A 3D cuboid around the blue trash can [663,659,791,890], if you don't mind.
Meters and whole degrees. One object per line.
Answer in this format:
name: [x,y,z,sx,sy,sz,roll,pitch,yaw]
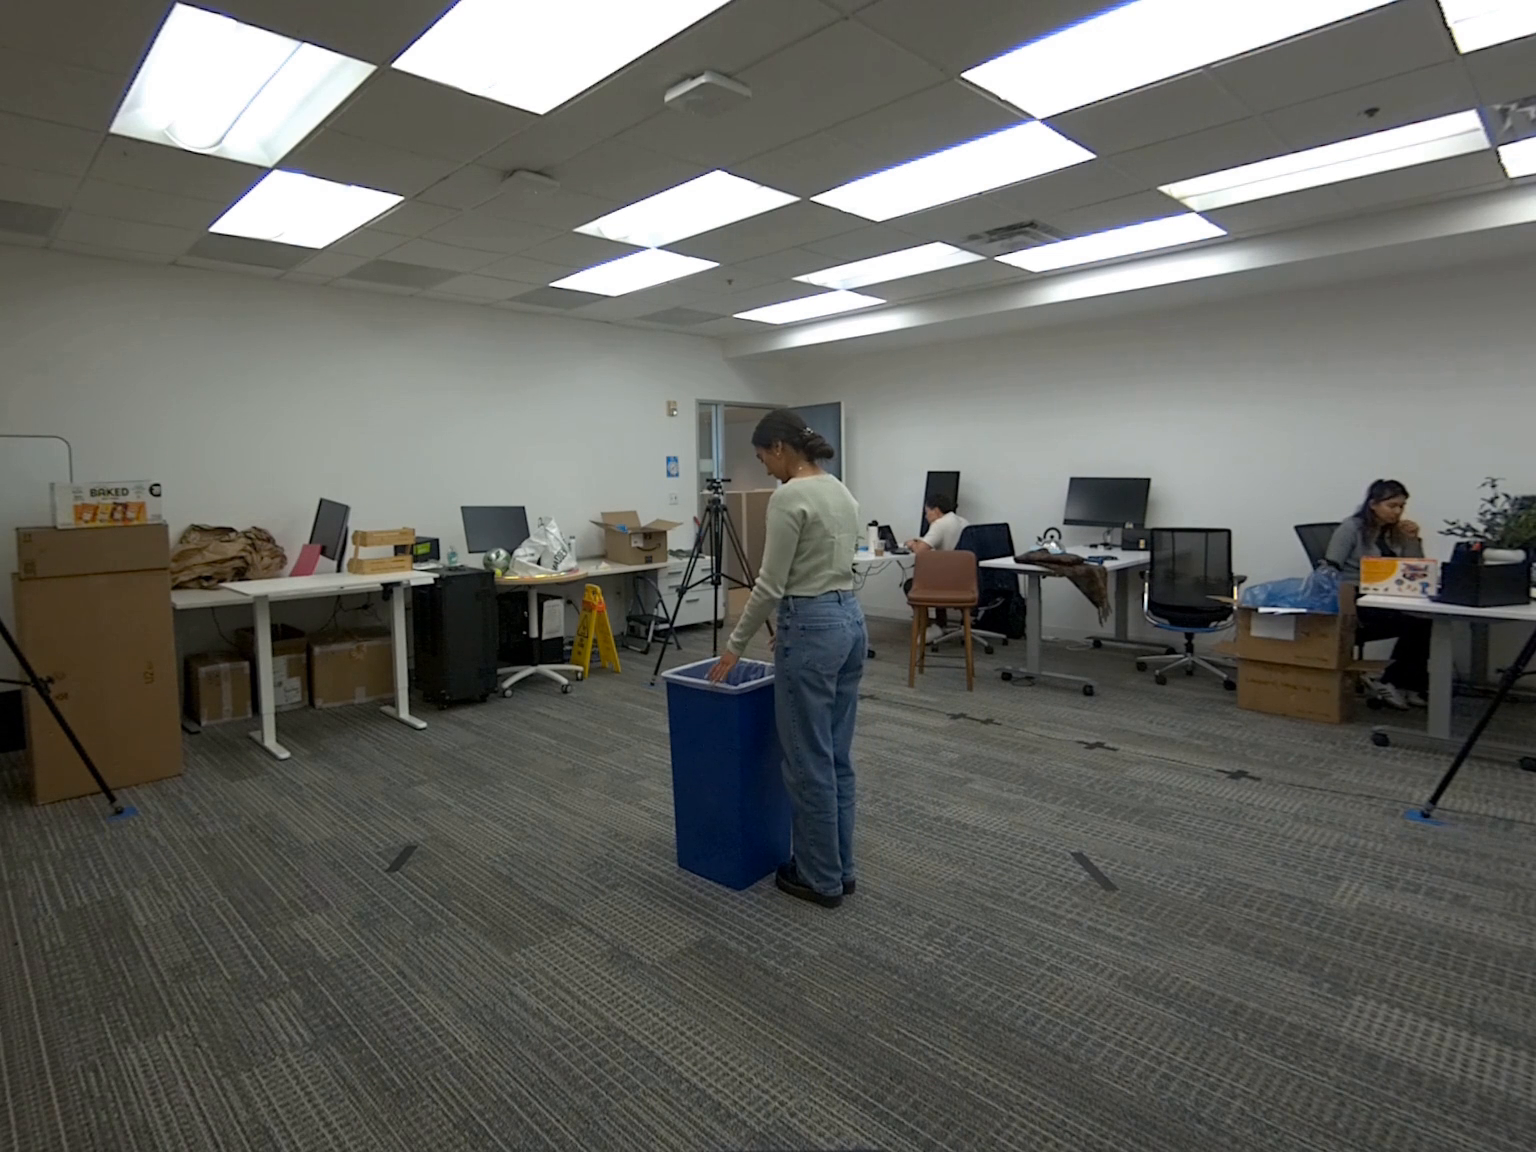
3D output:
blue trash can: [-0.128,0.689,3.074,0.389,0.711,0.364,2,5,39]
